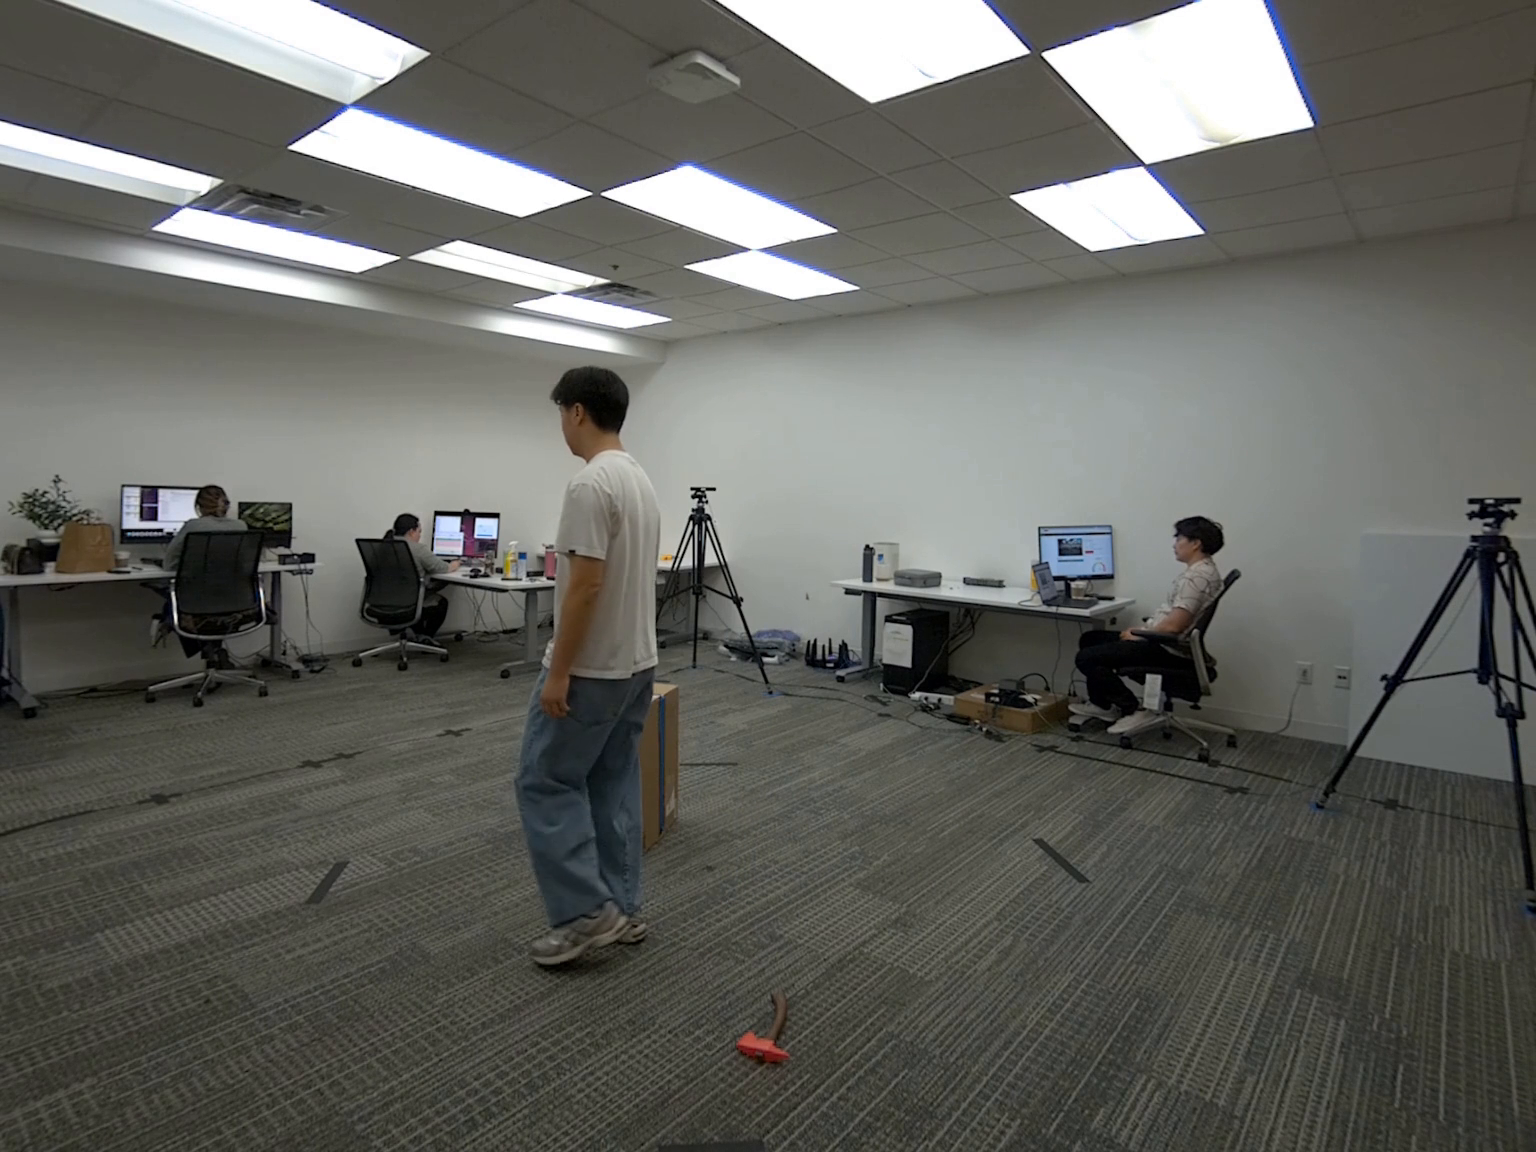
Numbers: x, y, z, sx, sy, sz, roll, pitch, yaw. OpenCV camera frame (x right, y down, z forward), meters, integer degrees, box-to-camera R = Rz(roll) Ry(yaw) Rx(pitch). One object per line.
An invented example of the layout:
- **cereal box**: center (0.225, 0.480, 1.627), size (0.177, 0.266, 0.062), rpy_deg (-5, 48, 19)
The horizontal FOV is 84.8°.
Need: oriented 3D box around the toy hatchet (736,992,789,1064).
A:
- **toy hatchet**: center (-0.019, 1.149, 2.190), size (0.131, 0.029, 0.270), rpy_deg (-2, 3, 1)
